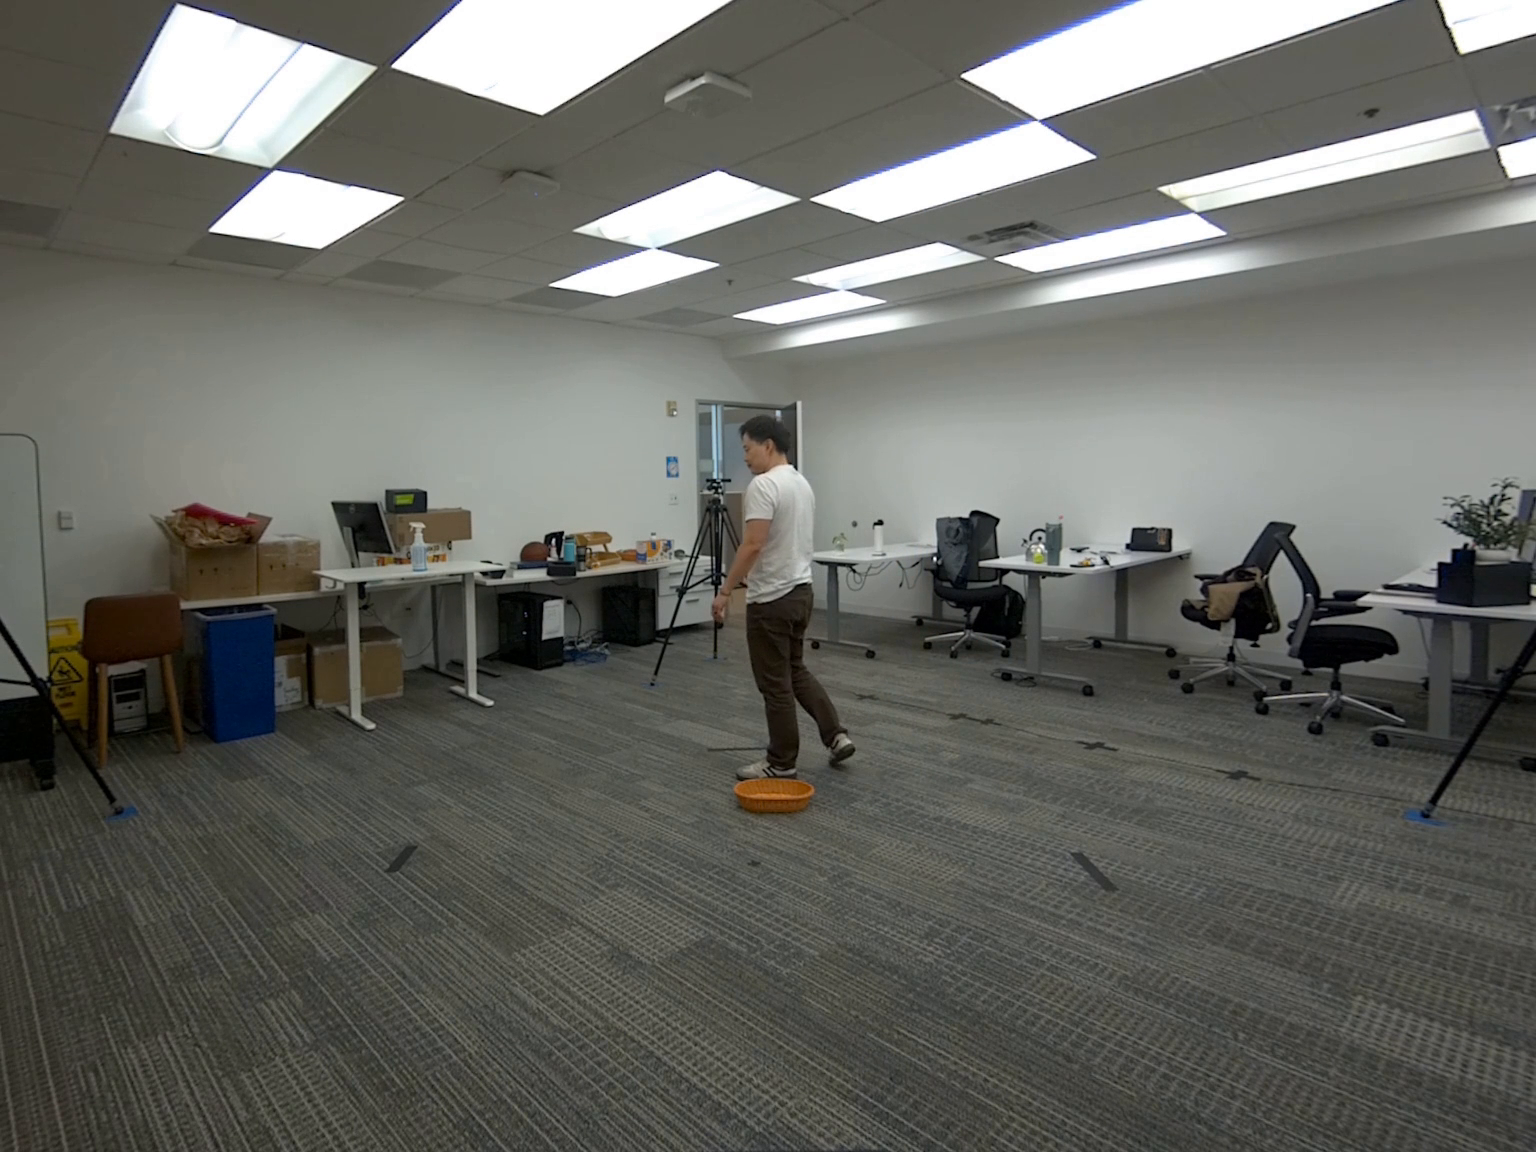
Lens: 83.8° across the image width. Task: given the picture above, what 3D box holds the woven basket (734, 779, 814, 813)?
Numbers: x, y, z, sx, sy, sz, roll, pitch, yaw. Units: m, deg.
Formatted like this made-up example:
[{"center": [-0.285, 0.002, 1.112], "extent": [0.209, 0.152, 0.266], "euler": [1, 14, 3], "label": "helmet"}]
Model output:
[{"center": [0.024, 0.942, 3.658], "extent": [0.353, 0.073, 0.252], "euler": [0, 5, 6], "label": "woven basket"}]
